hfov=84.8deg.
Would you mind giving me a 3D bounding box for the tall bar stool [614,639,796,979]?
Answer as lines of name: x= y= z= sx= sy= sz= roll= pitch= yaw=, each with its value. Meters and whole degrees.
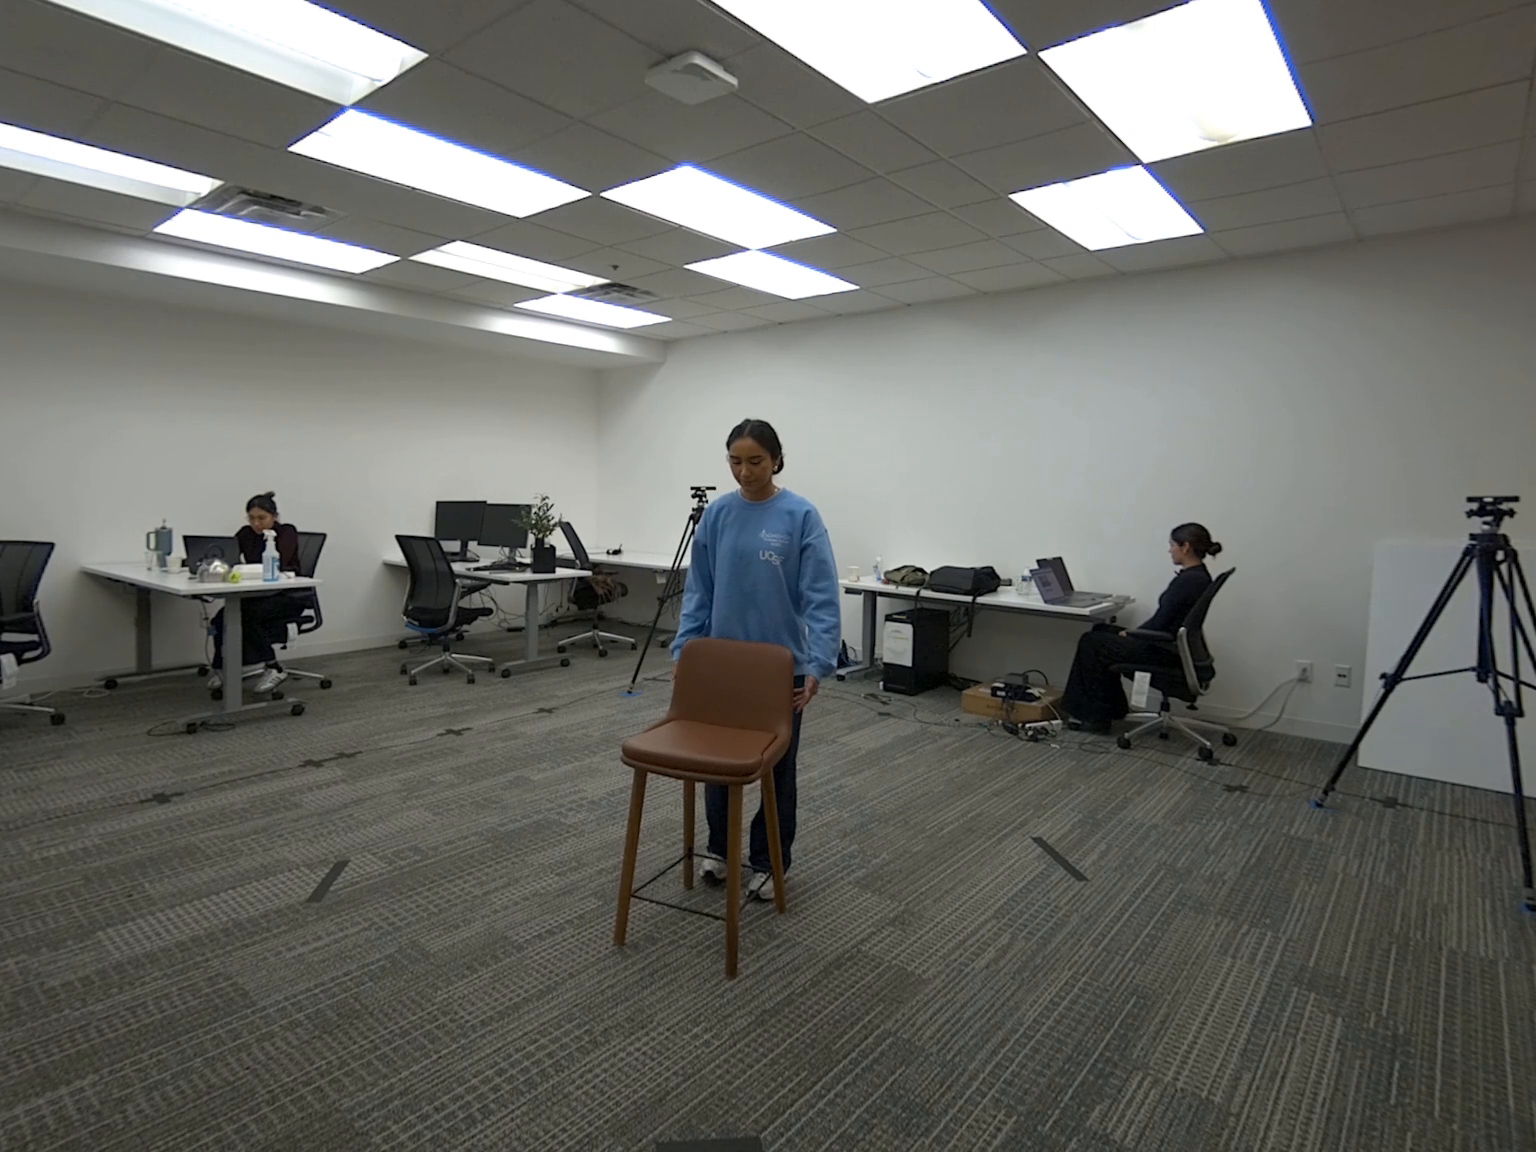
tall bar stool: x=-0.192 y=0.671 z=2.671 sx=0.468 sy=0.889 sz=0.456 roll=3 pitch=1 yaw=25
